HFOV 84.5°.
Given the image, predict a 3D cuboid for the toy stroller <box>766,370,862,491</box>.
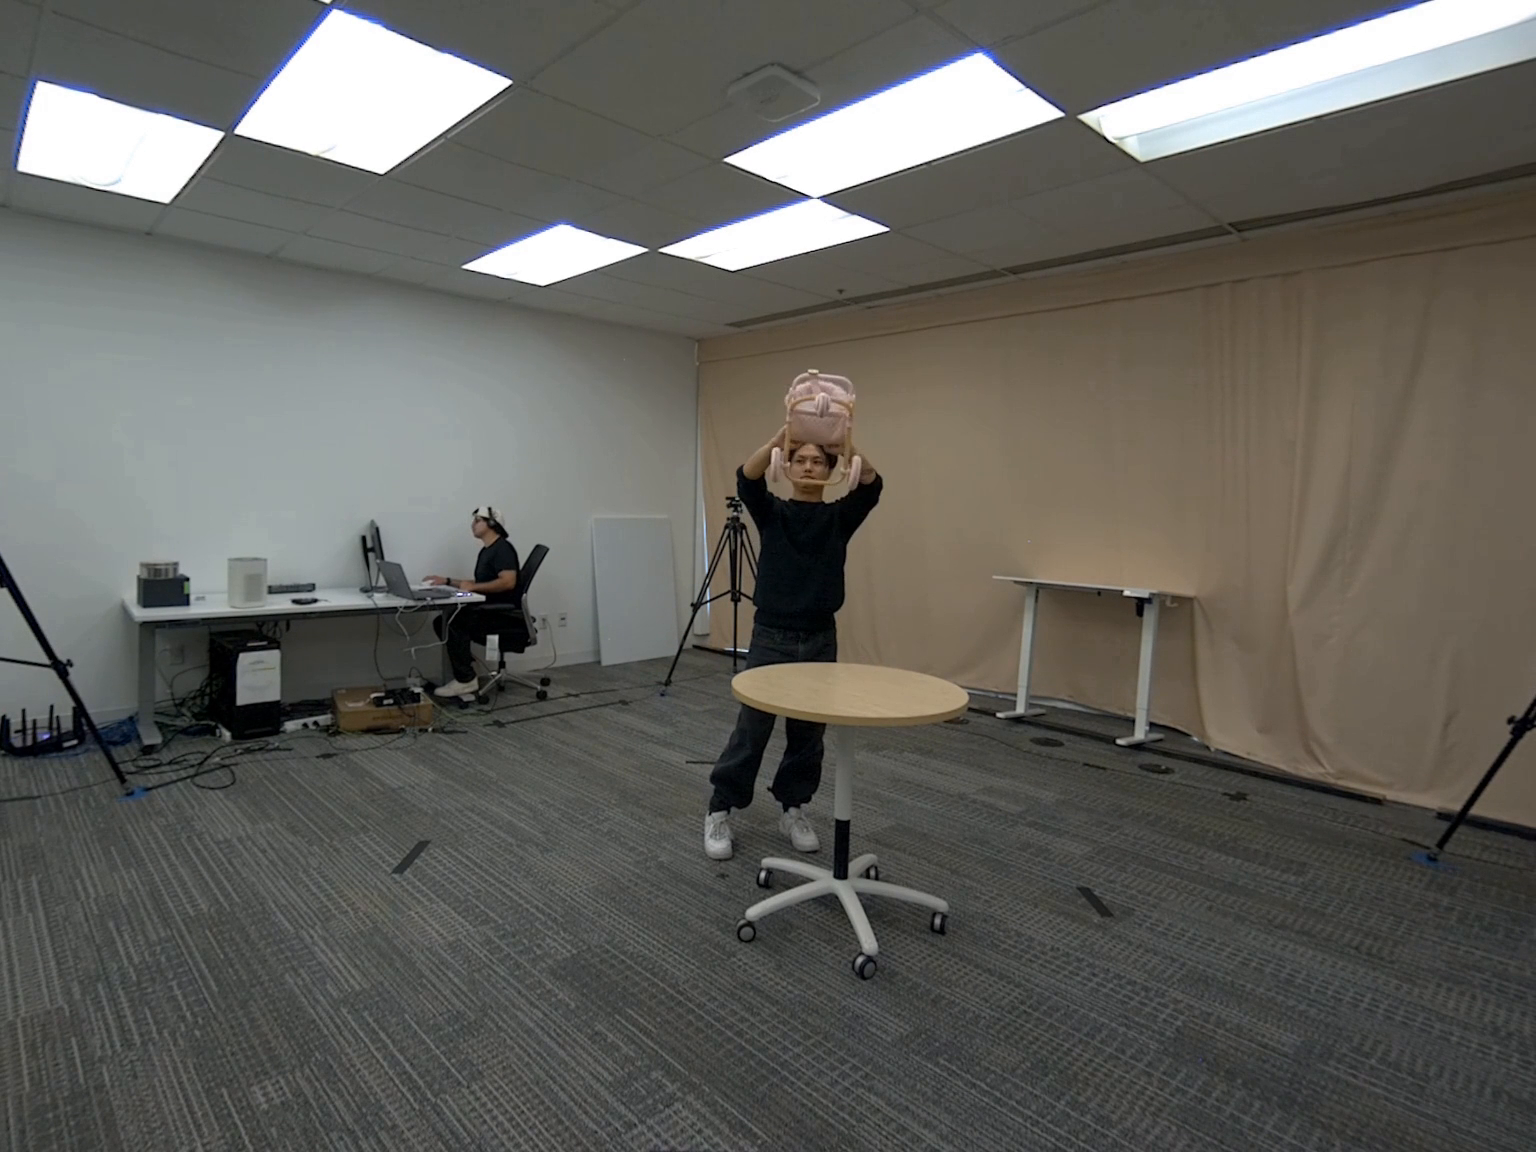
[{"bbox_3d":[0.157,-0.507,2.743,0.282,0.335,0.543,3,31,4],"label":"toy stroller"}]
